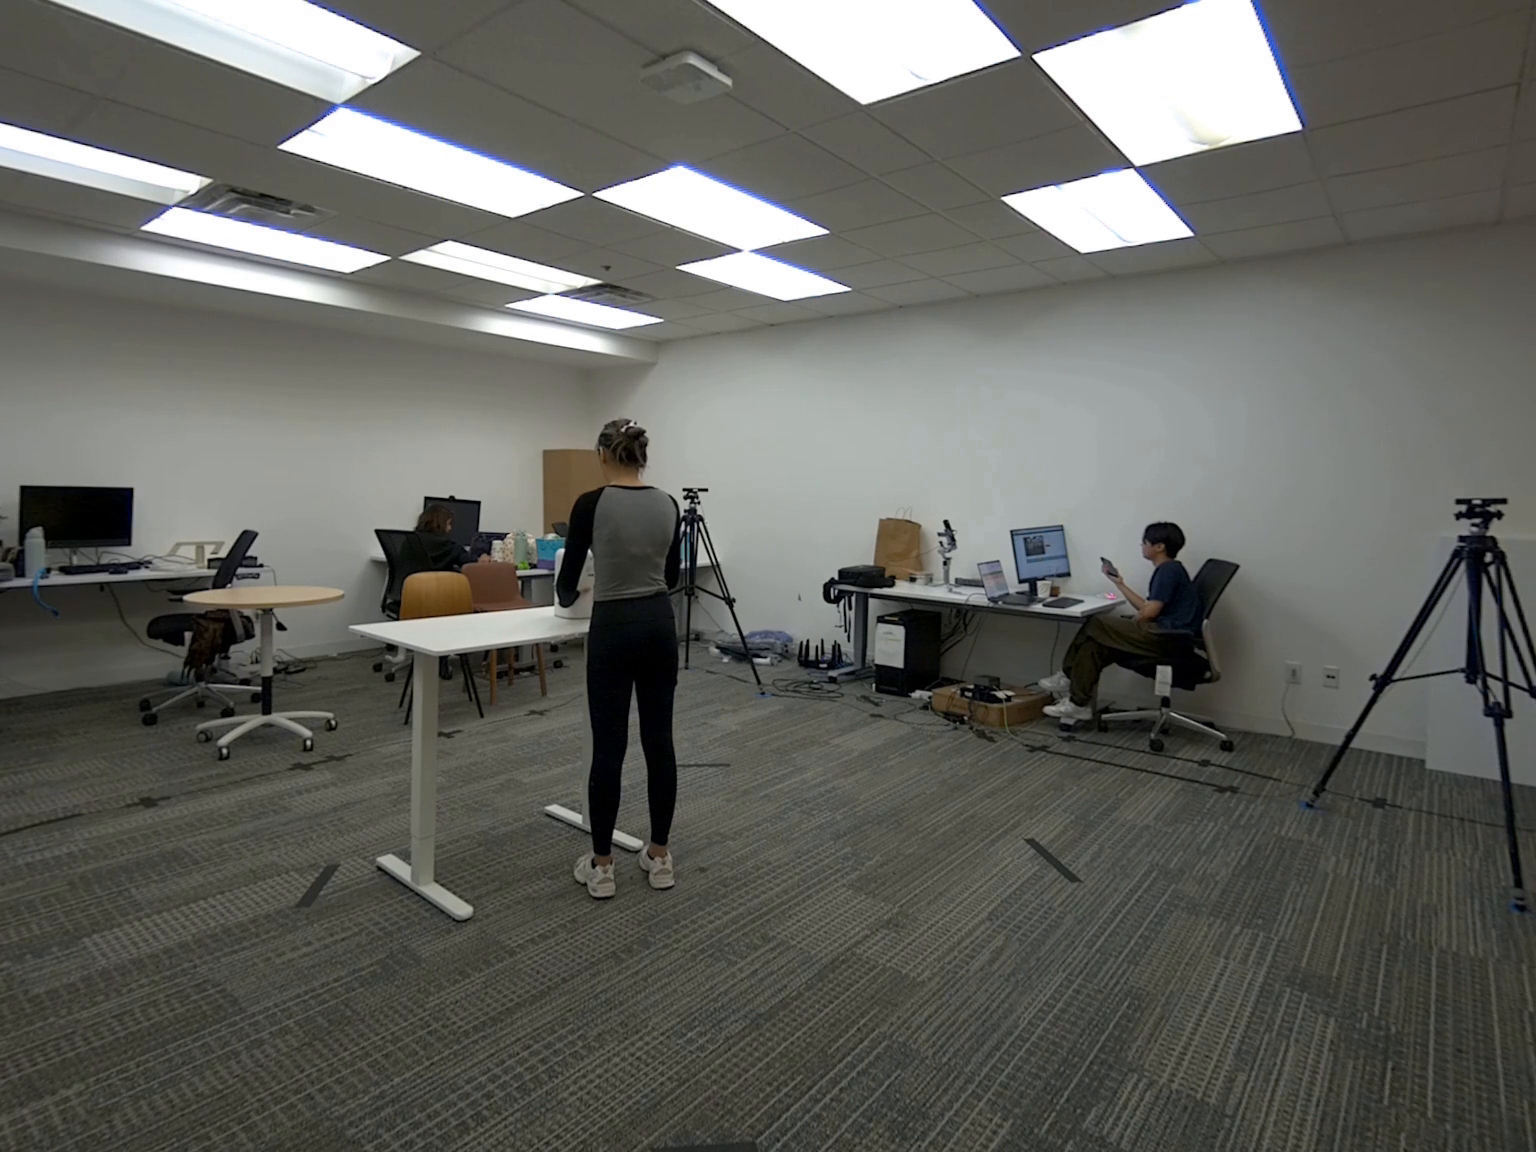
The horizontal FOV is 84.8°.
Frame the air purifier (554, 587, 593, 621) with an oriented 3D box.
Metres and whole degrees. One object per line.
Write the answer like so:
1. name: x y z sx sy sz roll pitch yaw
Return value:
1. air purifier: -0.751 0.023 3.356 0.166 0.265 0.177 2 2 -39
